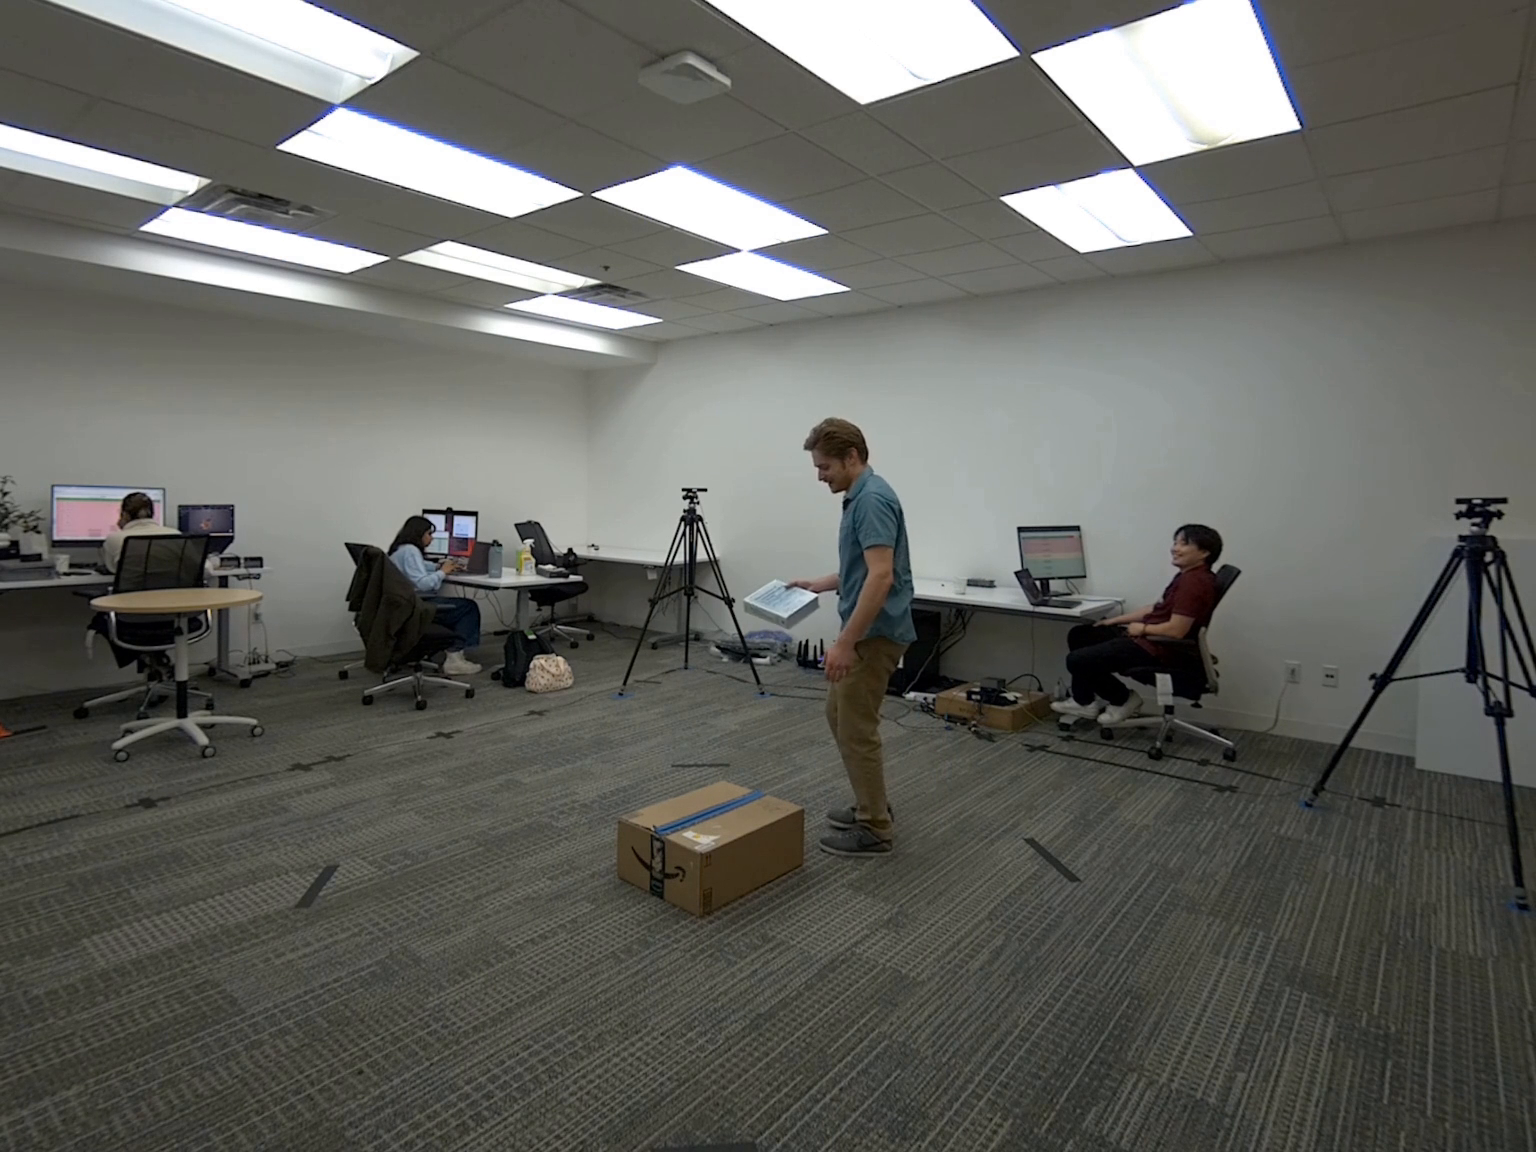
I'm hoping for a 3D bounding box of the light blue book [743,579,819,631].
[{"bbox_3d":[0.047,0.106,3.471,0.189,0.057,0.271,-32,33,-31],"label":"light blue book"}]
